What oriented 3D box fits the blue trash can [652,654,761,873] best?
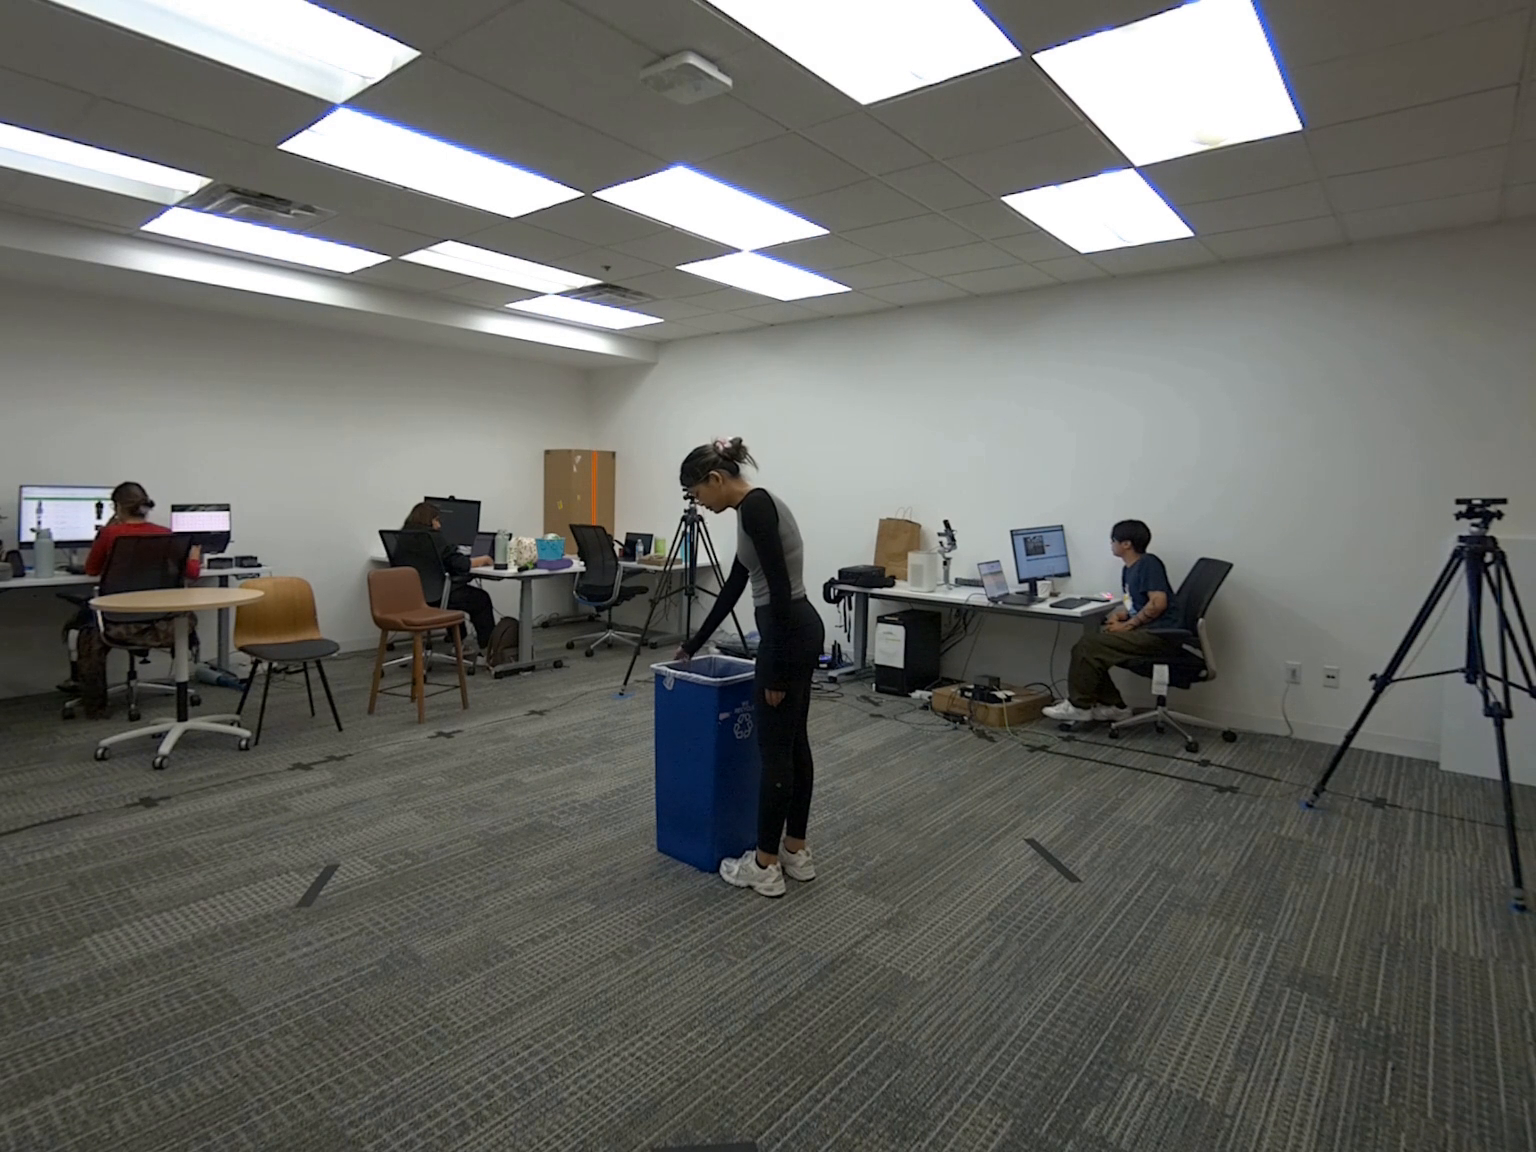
[{"bbox_3d":[-0.223,0.697,3.269,0.391,0.711,0.363,4,4,40],"label":"blue trash can"}]
